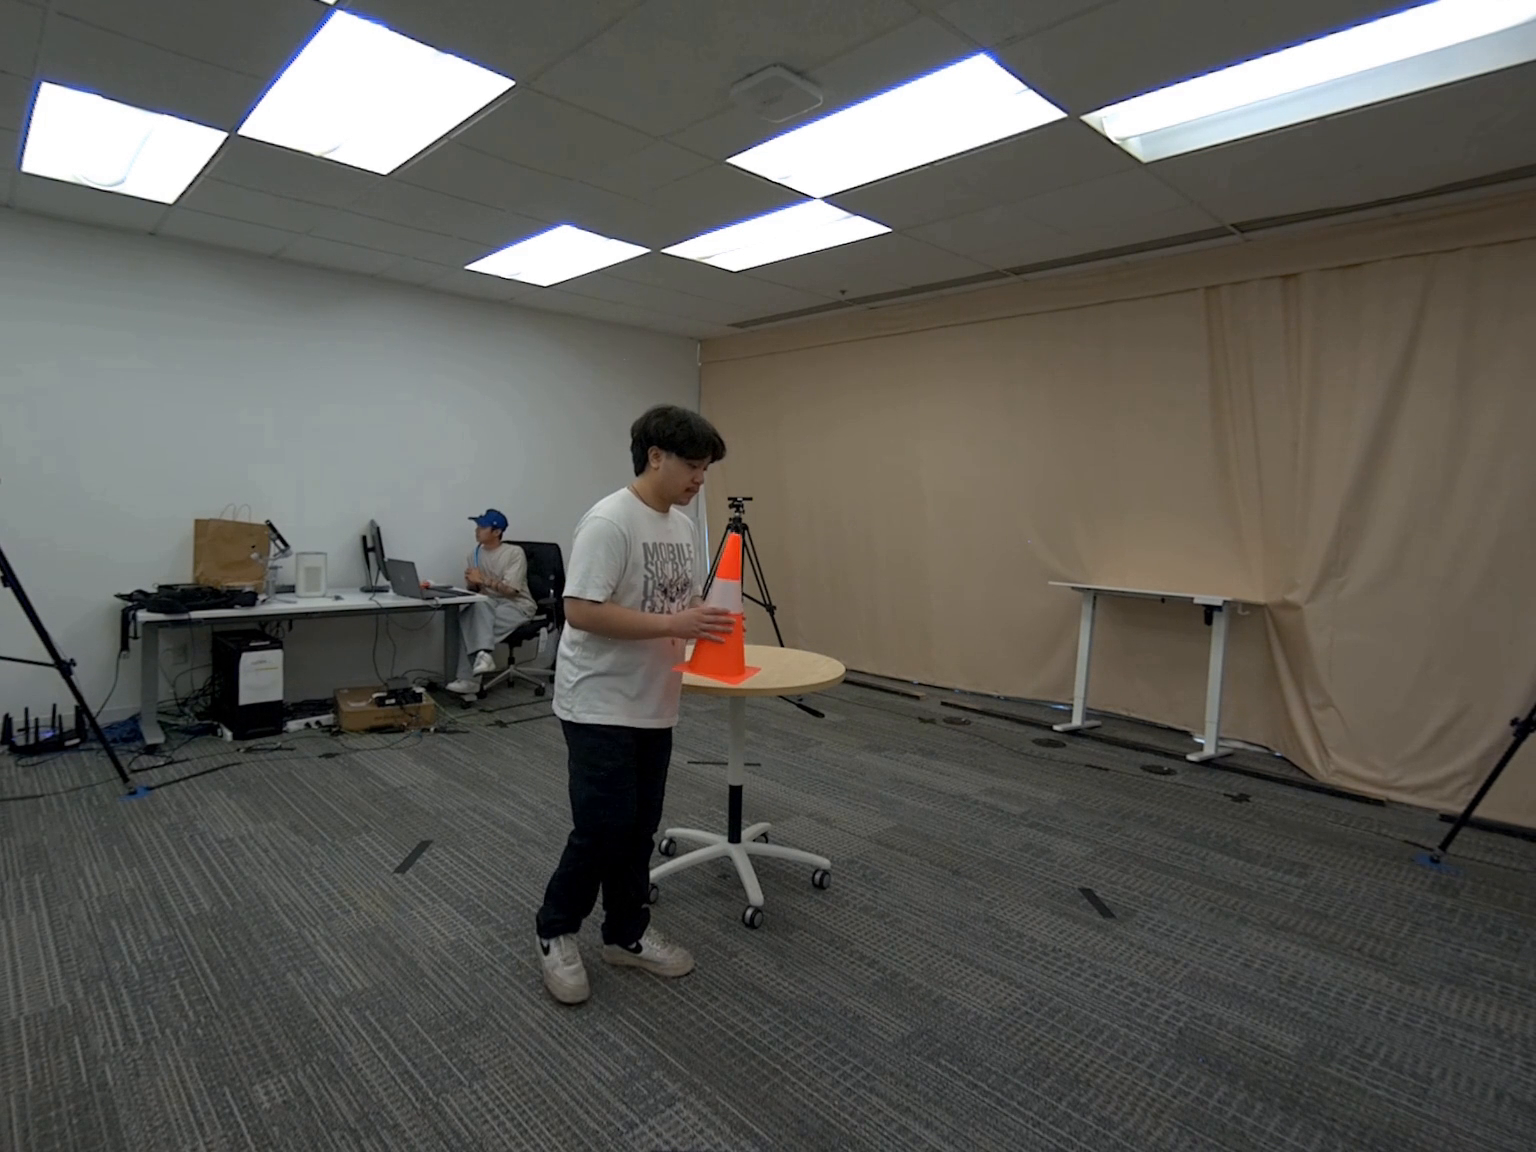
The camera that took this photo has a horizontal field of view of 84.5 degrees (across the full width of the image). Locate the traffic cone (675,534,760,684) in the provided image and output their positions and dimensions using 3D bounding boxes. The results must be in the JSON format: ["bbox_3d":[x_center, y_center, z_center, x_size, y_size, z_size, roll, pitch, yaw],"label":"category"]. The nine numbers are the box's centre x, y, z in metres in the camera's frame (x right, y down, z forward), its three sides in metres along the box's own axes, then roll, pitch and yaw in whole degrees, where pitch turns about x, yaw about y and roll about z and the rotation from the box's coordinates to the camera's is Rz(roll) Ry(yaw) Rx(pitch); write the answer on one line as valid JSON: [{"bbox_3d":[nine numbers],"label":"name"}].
[{"bbox_3d":[-0.134,0.080,2.280,0.210,0.382,0.199,10,8,29],"label":"traffic cone"}]
